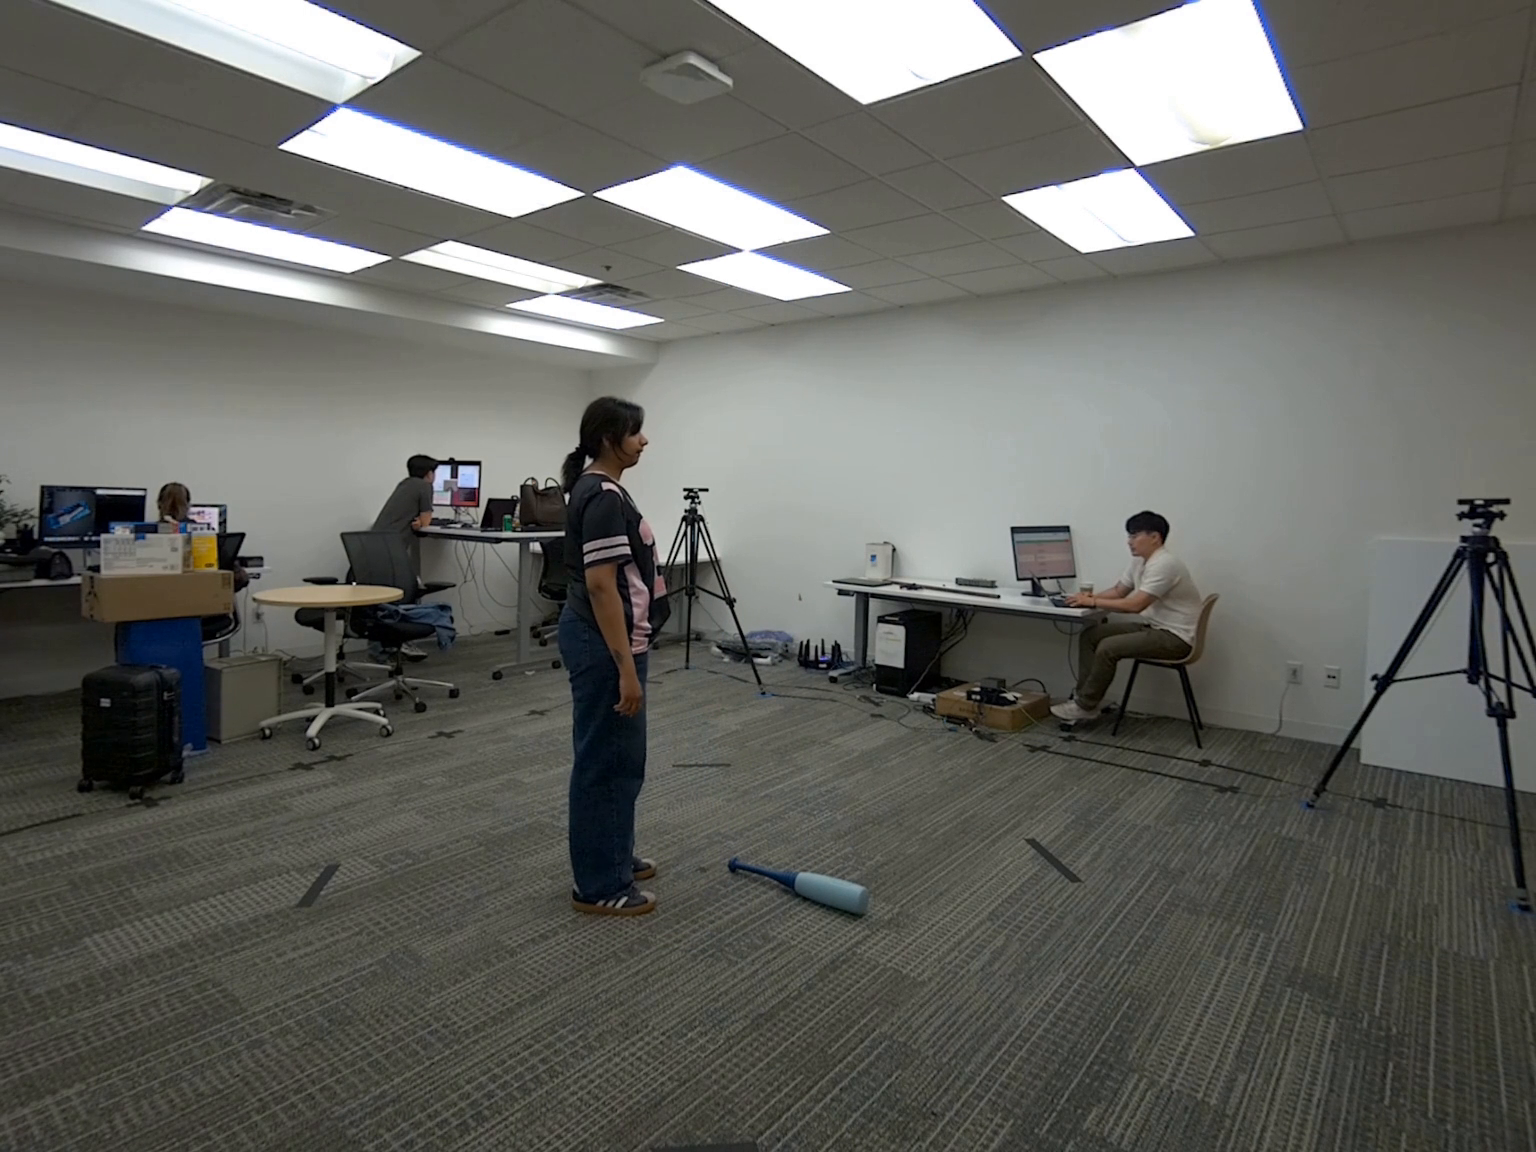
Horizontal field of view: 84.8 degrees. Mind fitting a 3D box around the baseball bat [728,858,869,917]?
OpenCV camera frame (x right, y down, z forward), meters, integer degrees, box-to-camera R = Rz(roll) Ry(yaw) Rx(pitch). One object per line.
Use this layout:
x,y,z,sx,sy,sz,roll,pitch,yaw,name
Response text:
0.085,1.060,2.940,0.560,0.089,0.086,3,4,36,baseball bat
